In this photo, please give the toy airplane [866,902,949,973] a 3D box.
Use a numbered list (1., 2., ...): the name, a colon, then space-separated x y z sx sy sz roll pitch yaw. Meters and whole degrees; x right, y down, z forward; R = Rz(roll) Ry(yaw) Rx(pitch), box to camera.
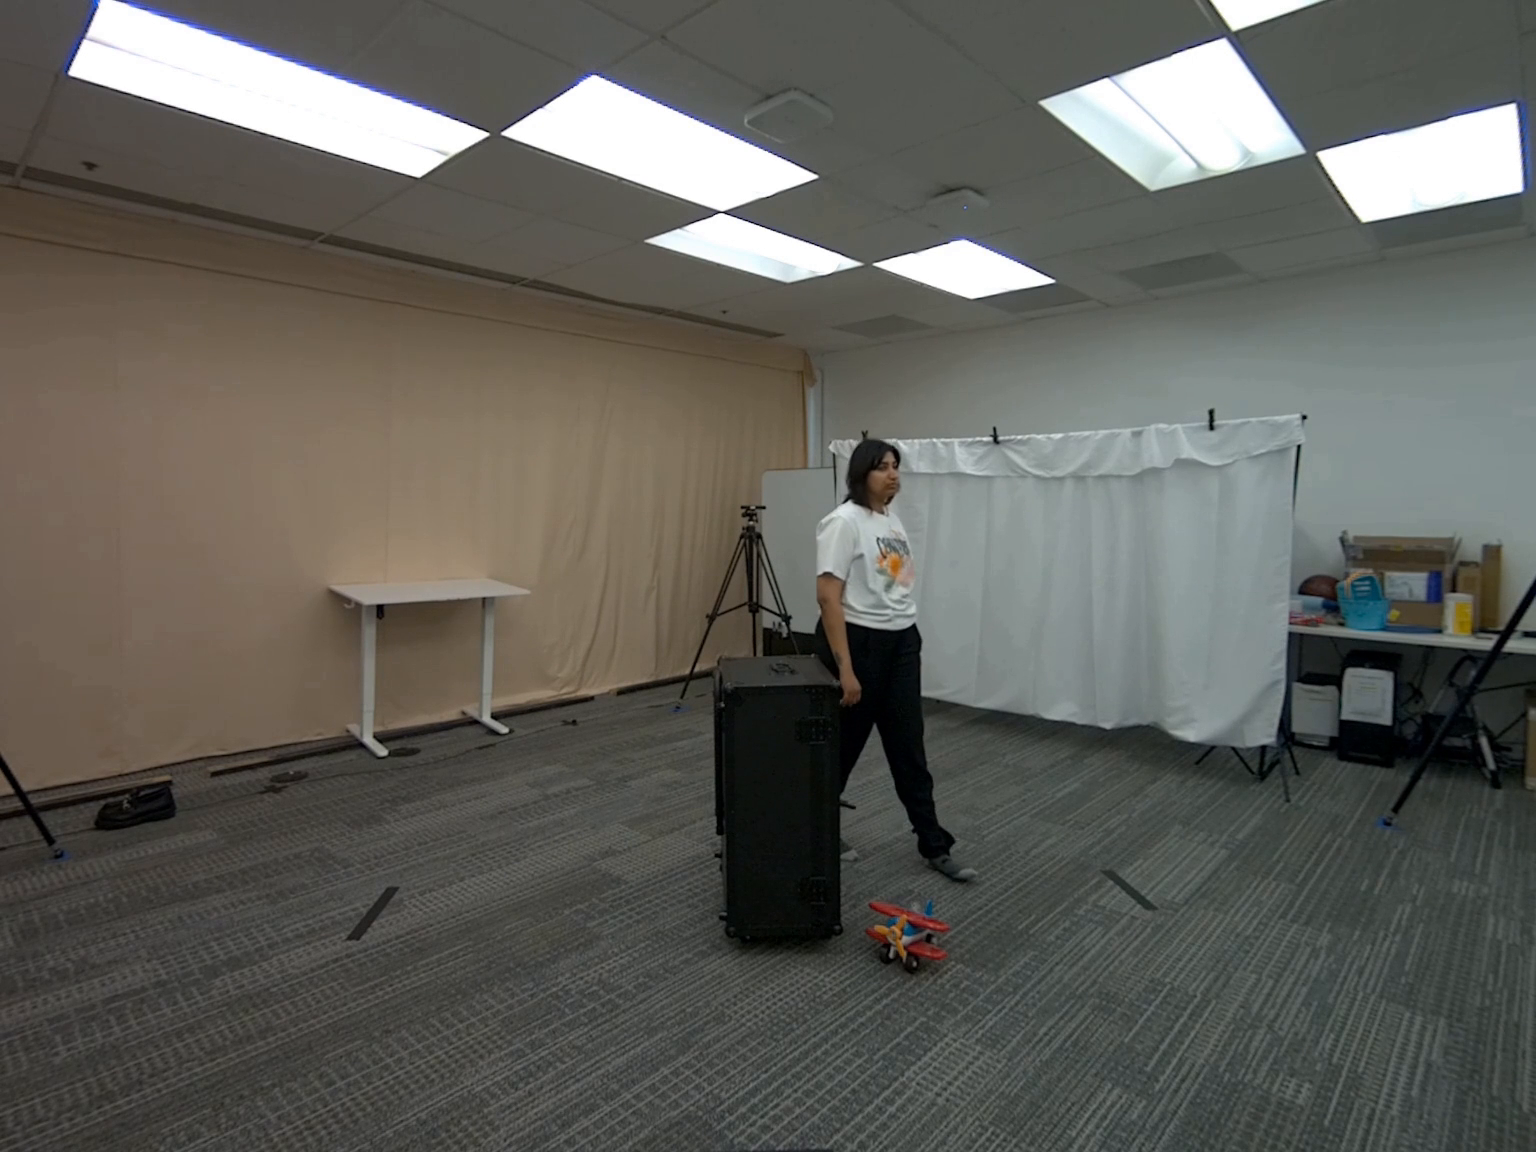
1. toy airplane: 0.431 1.098 2.610 0.254 0.156 0.257 1 7 10
